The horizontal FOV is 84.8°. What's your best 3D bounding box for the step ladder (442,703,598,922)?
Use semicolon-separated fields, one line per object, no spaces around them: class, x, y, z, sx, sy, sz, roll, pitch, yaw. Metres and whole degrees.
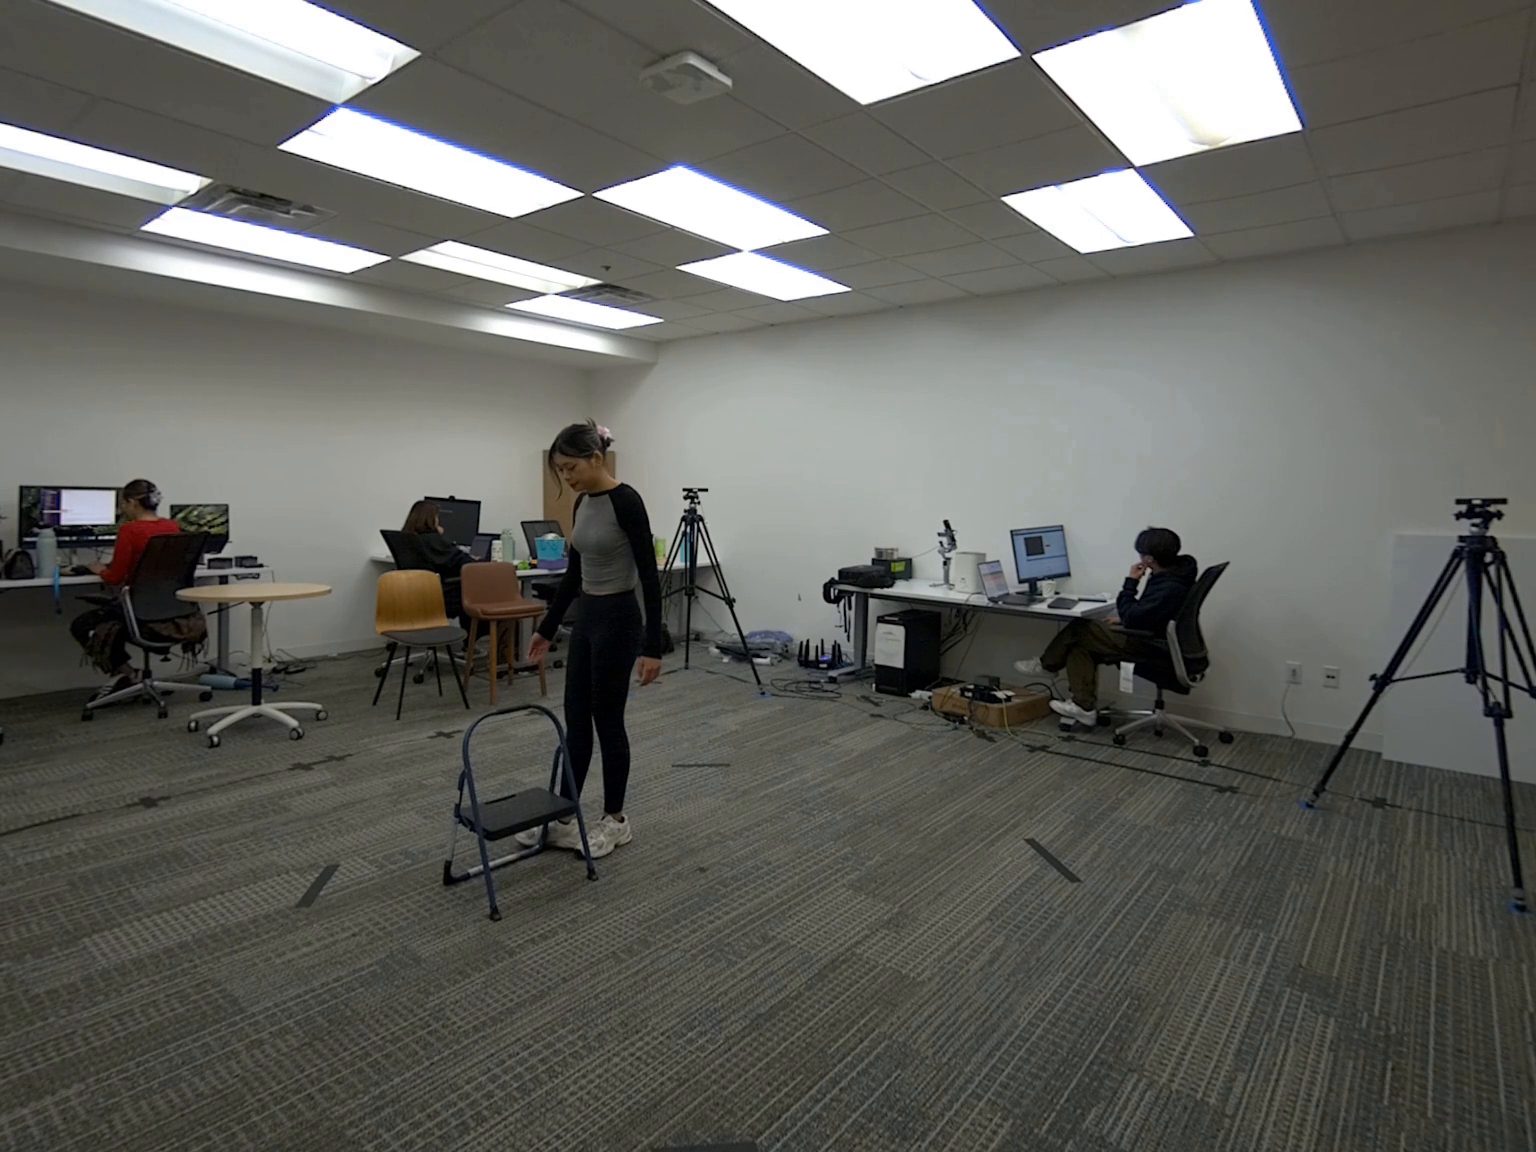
step ladder;-0.873;0.772;2.963;0.361;0.604;0.417;4;4;41
